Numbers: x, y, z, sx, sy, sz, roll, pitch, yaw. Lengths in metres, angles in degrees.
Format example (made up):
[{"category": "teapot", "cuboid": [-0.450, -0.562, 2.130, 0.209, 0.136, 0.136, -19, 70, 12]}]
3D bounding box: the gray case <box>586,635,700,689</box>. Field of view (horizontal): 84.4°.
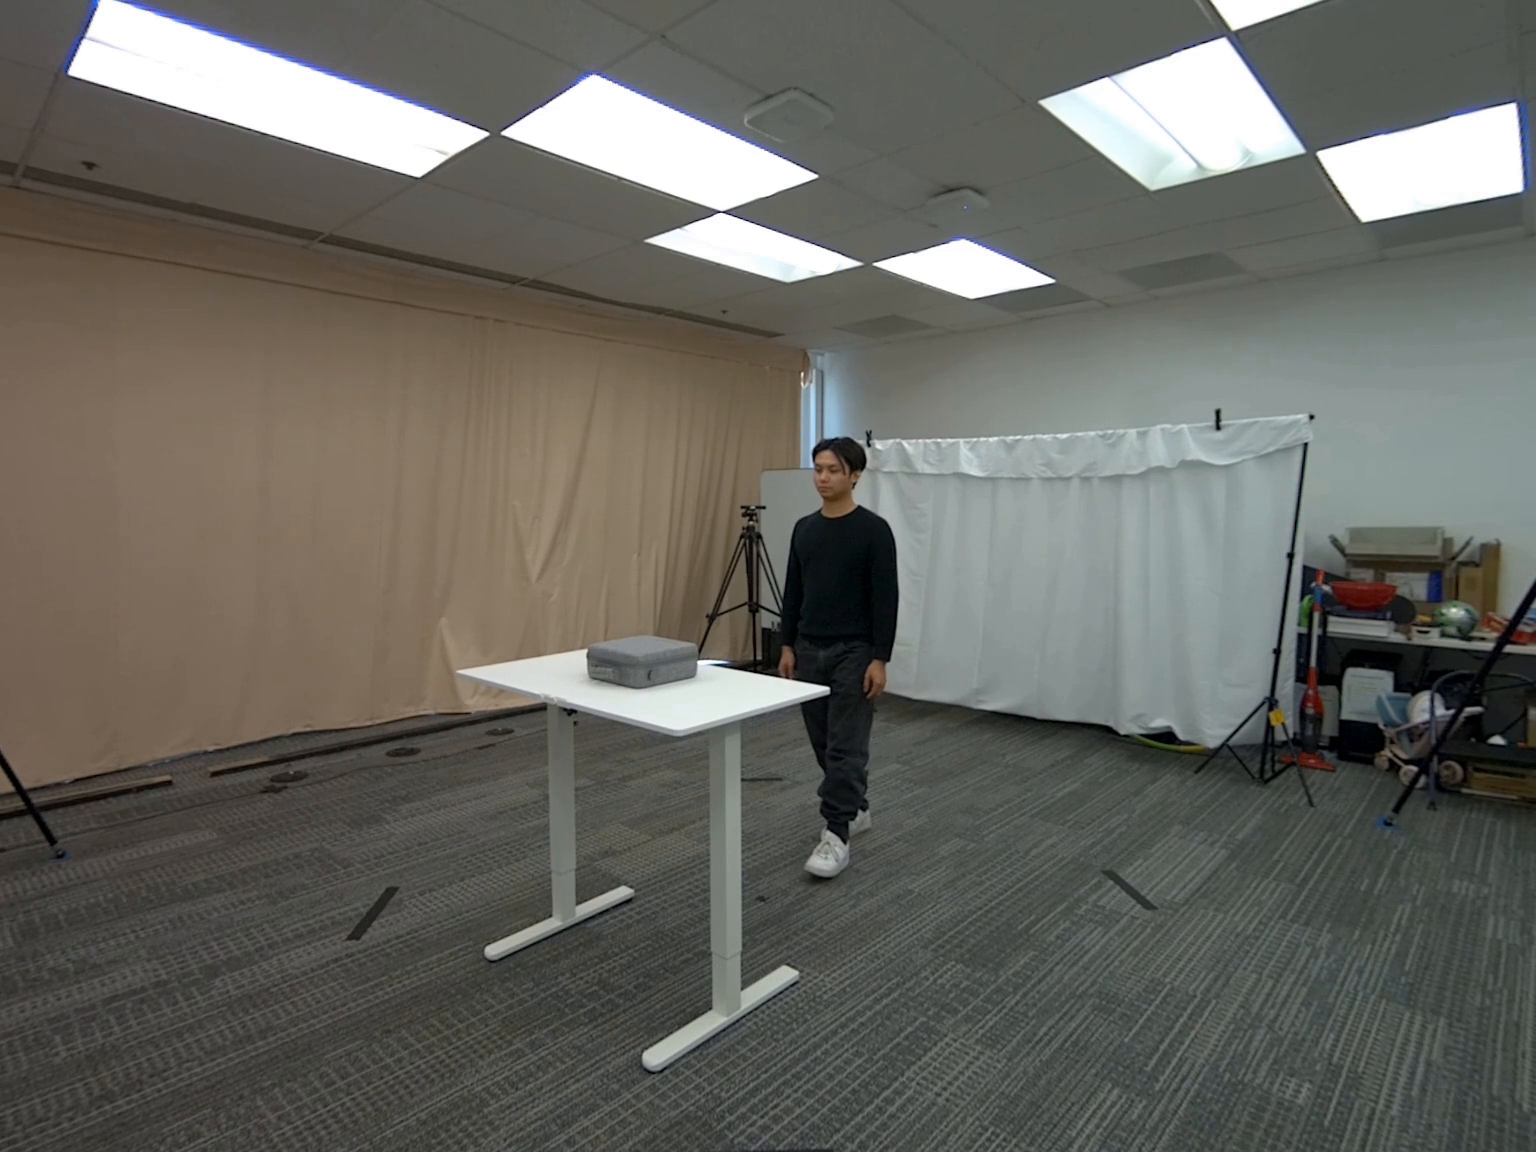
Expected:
[{"category": "gray case", "cuboid": [-0.374, 0.253, 2.502, 0.265, 0.104, 0.253, 6, 8, 42]}]
